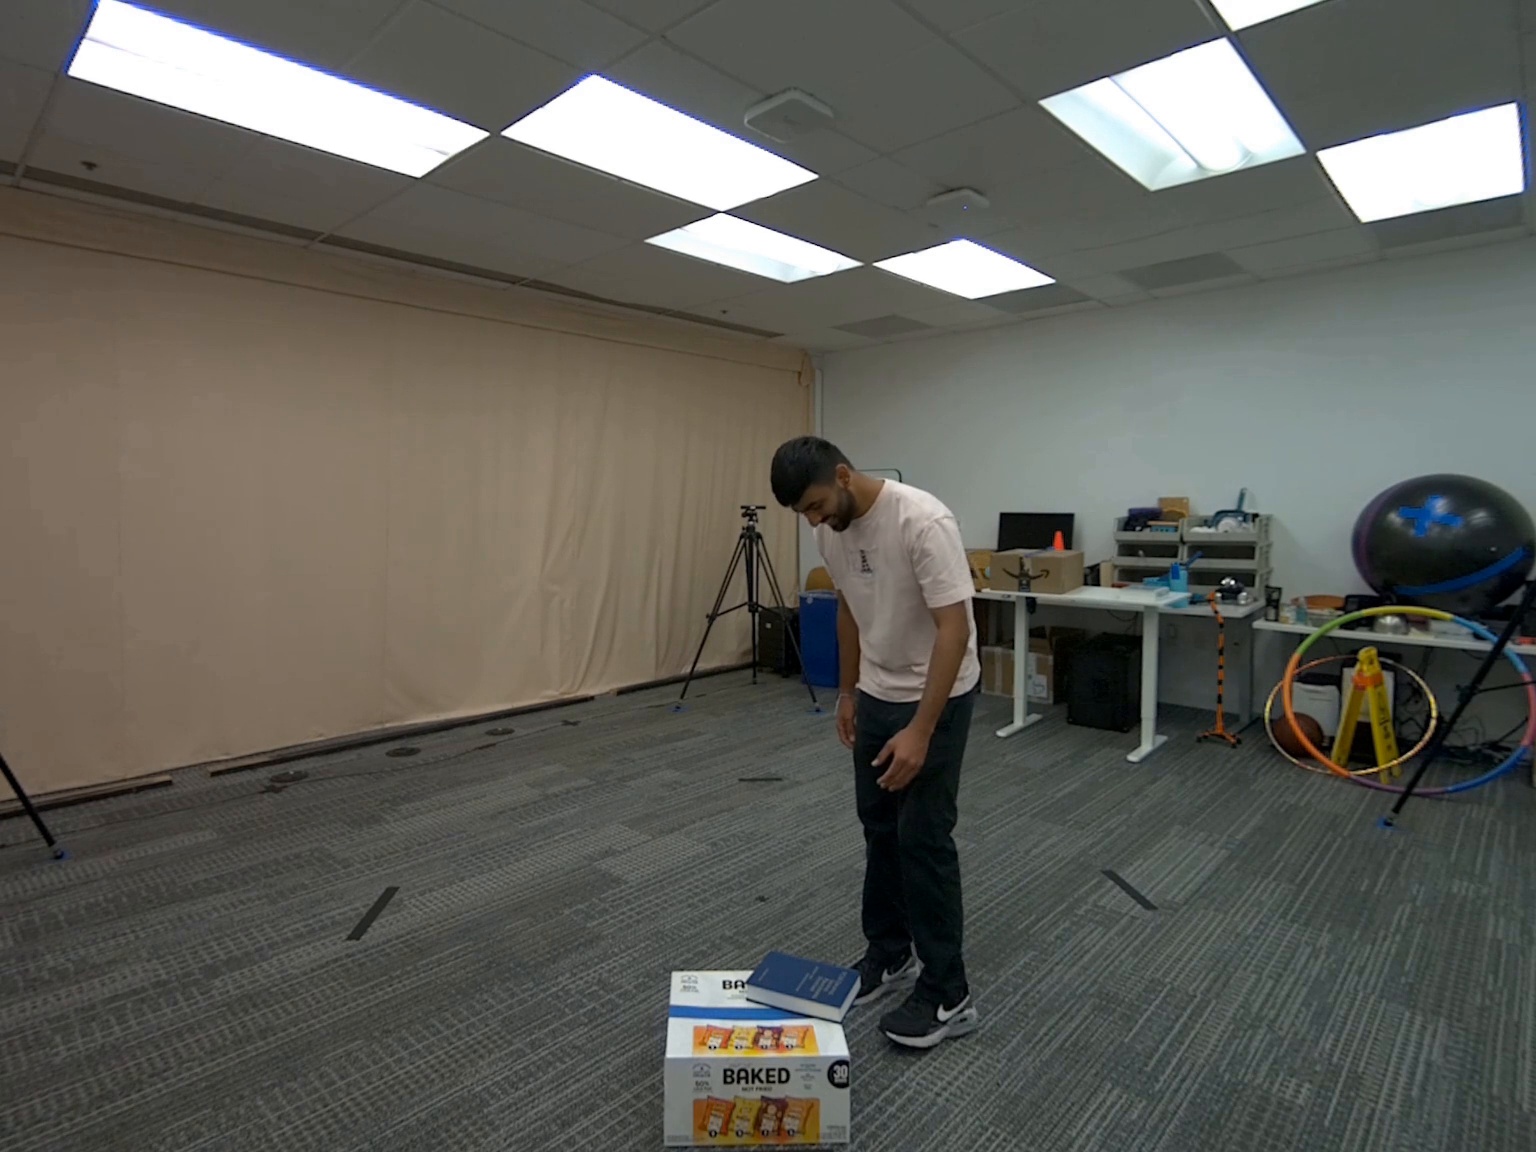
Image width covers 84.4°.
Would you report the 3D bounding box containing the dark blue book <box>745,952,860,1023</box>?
[{"bbox_3d":[0.088,1.004,2.046,0.251,0.045,0.160,0,7,25],"label":"dark blue book"}]
